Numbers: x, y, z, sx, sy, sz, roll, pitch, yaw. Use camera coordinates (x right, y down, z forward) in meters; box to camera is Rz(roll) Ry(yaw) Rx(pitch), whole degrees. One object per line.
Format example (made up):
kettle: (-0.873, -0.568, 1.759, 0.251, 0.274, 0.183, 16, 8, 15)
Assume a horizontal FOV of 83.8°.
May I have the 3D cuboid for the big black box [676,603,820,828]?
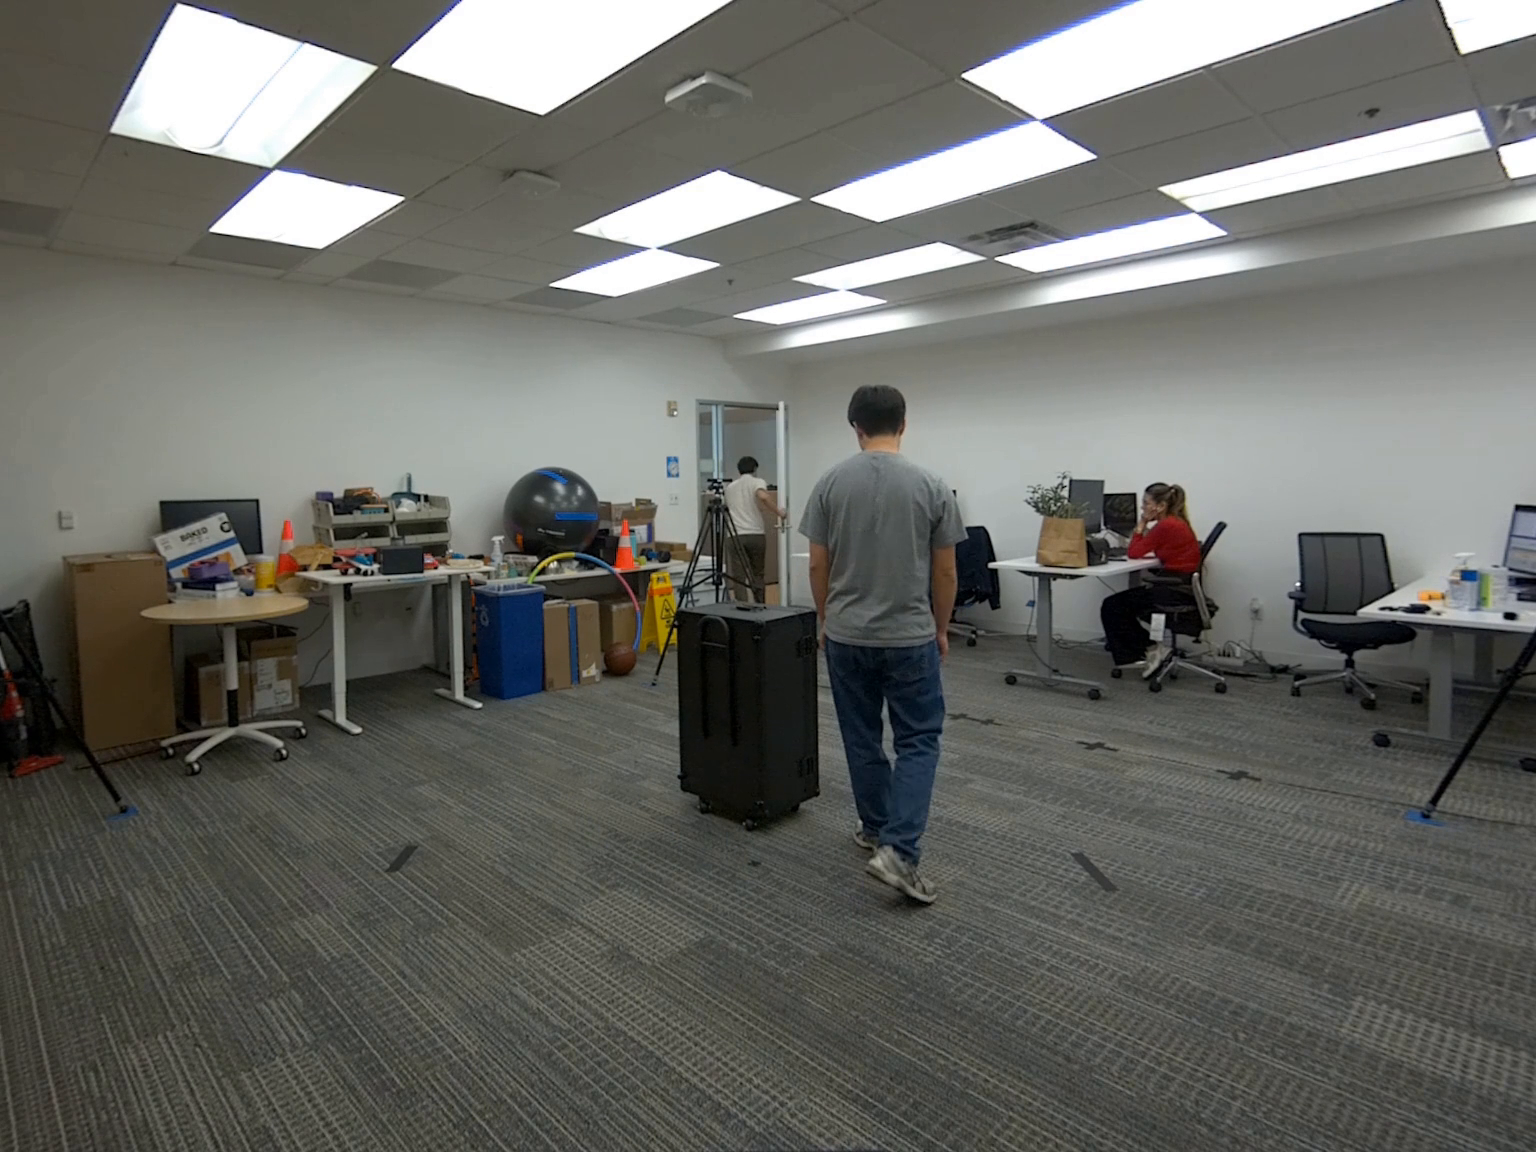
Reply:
big black box: (-0.090, 0.565, 3.588, 0.537, 0.858, 0.386, 3, 6, 43)
